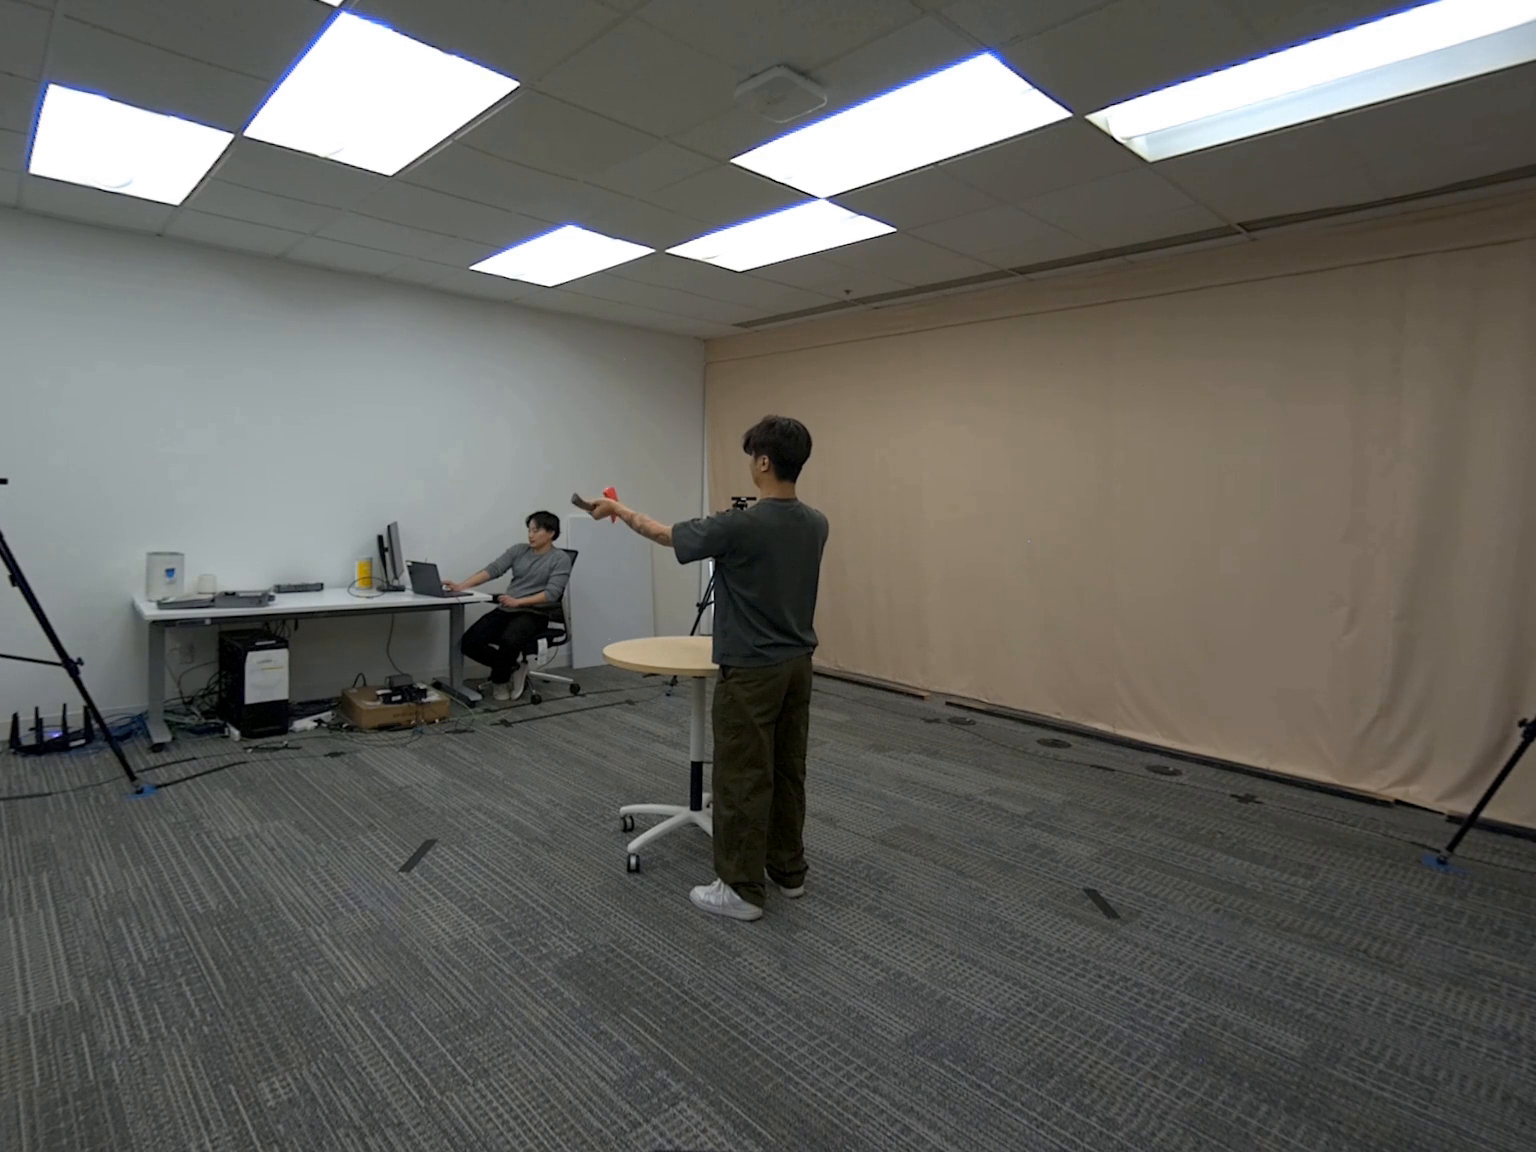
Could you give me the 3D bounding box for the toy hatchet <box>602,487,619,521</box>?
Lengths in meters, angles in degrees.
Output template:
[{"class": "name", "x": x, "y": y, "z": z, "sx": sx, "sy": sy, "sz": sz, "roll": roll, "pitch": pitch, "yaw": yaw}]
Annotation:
[{"class": "toy hatchet", "x": -0.608, "y": -0.278, "z": 3.004, "sx": 0.030, "sy": 0.132, "sz": 0.263, "roll": 3, "pitch": -10, "yaw": 22}]
